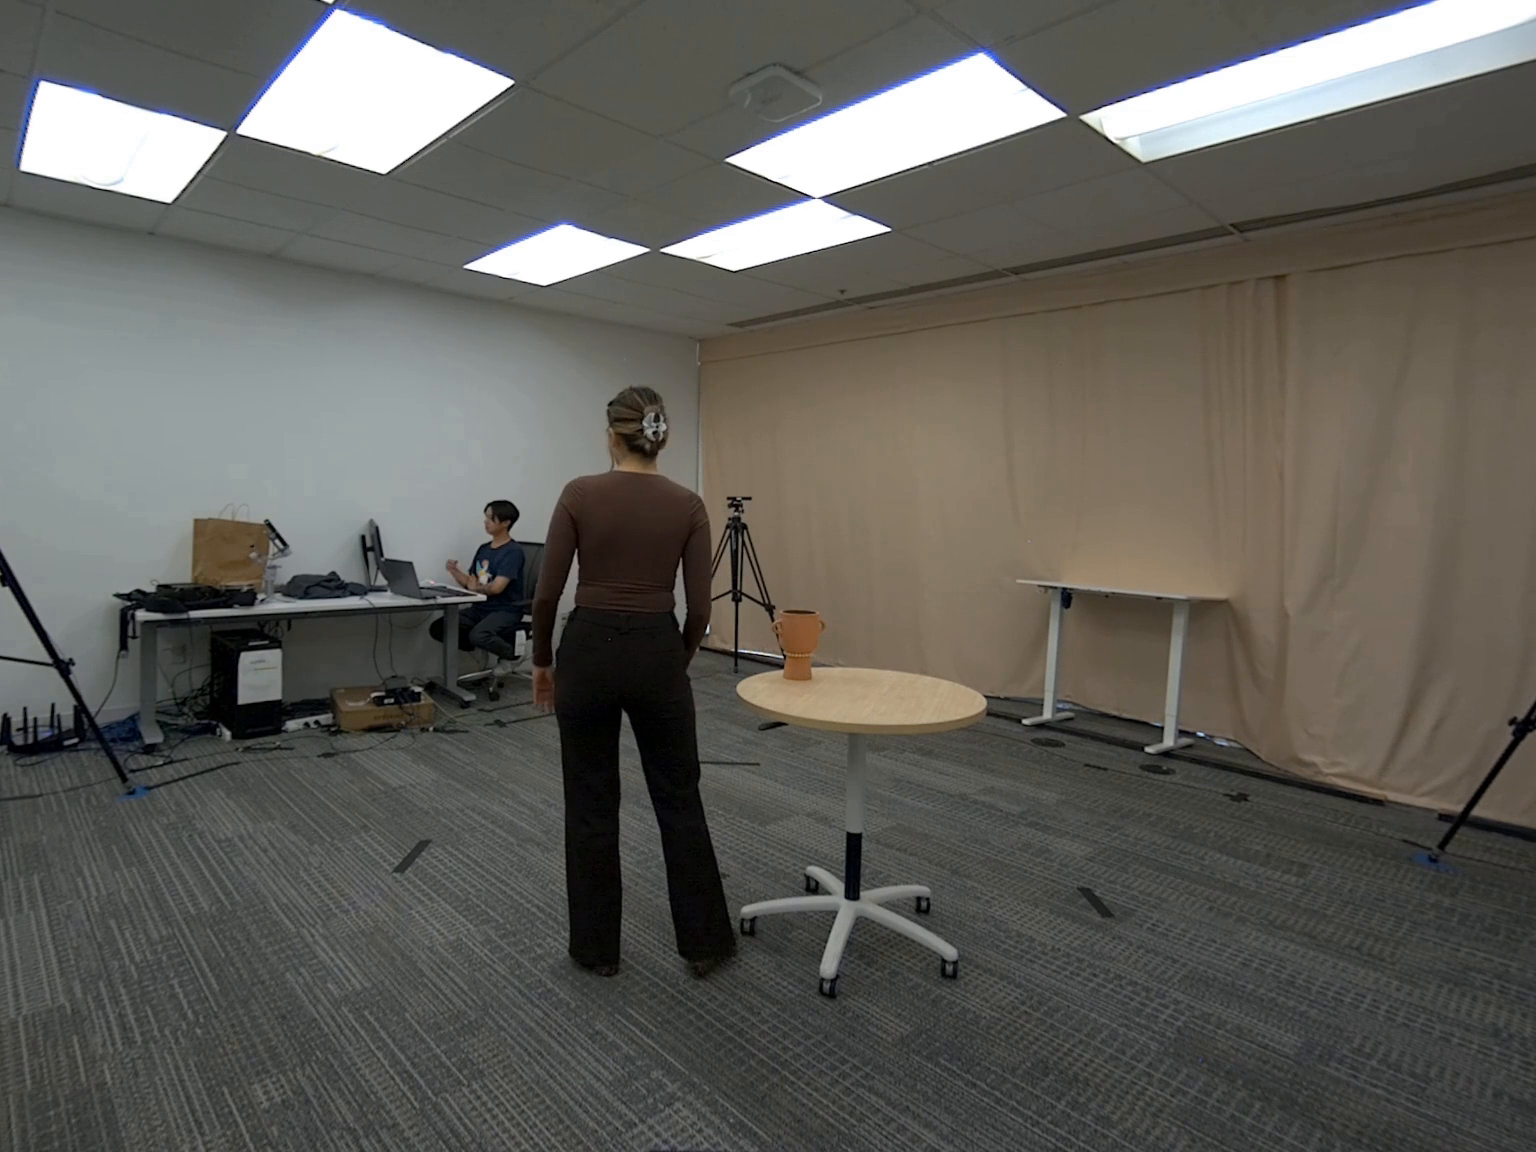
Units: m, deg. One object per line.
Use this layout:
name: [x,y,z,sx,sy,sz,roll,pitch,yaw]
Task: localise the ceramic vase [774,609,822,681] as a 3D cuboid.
ceramic vase: [0.097,0.232,2.811,0.161,0.219,0.133,2,3,15]
